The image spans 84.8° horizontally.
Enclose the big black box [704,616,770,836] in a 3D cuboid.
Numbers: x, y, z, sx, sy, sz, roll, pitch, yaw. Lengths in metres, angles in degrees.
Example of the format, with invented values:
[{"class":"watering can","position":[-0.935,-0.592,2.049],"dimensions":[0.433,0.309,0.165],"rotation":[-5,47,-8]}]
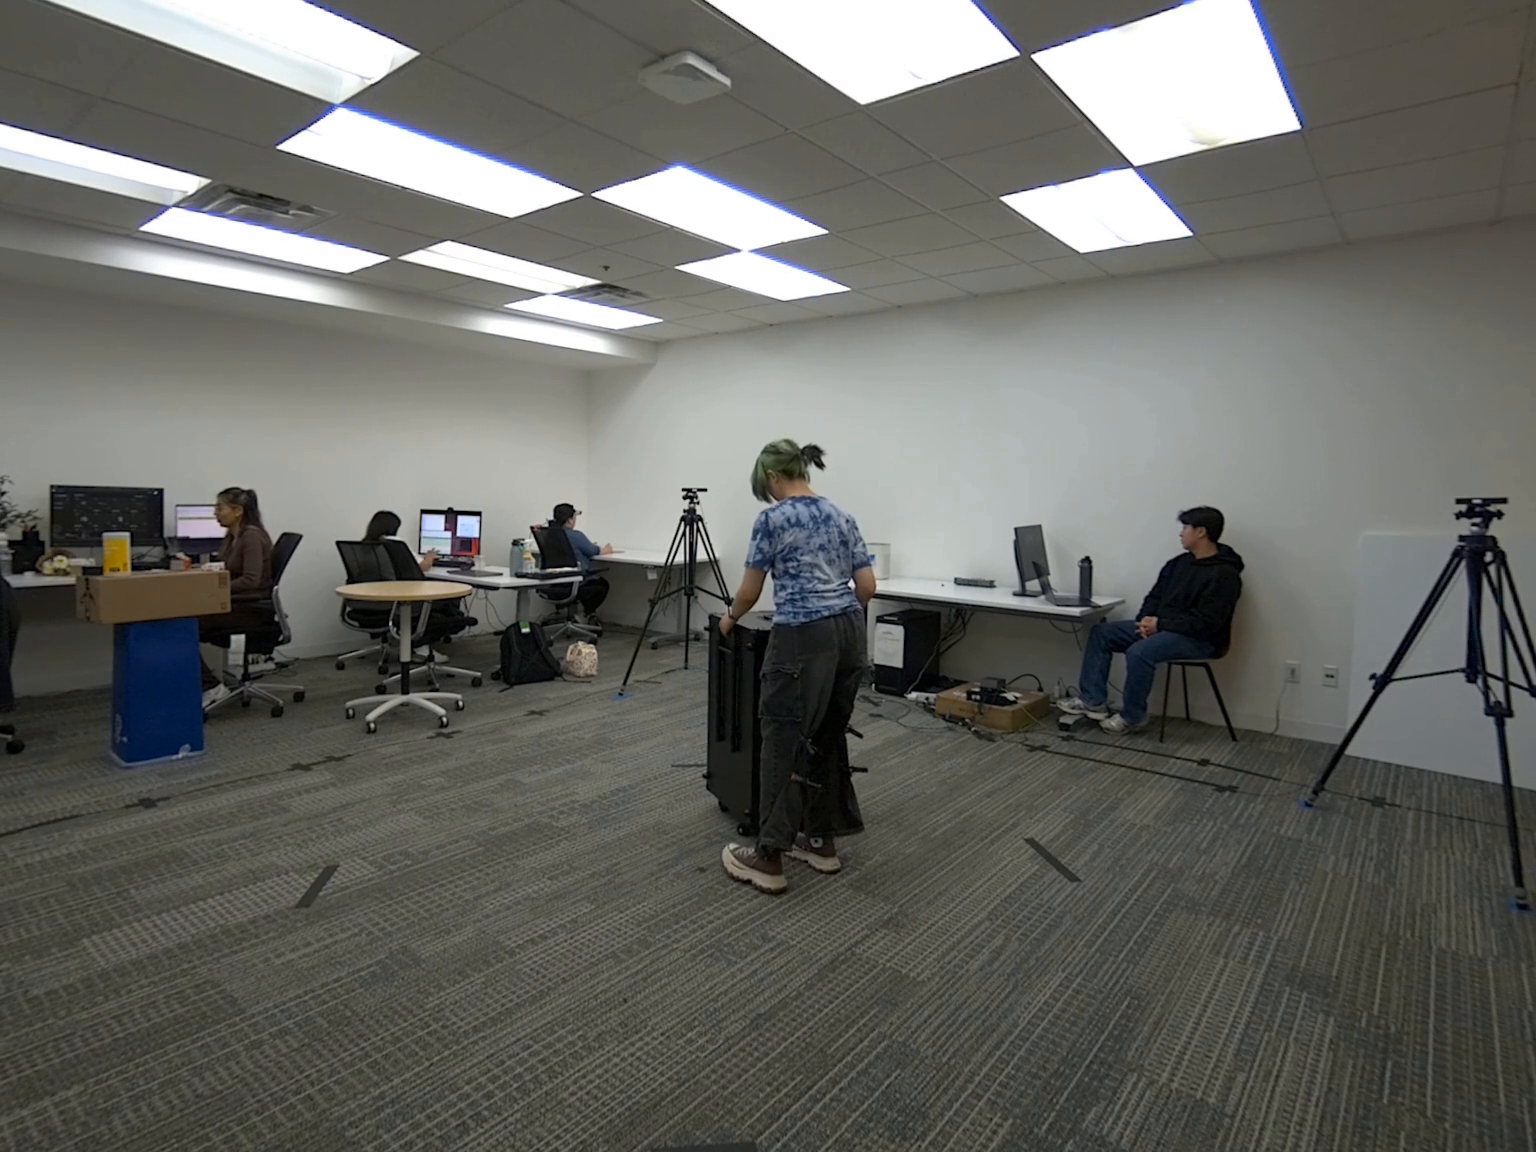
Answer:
[{"class":"big black box","position":[-0.022,0.603,3.564],"dimensions":[0.387,0.859,0.534],"rotation":[0,3,-23]}]
